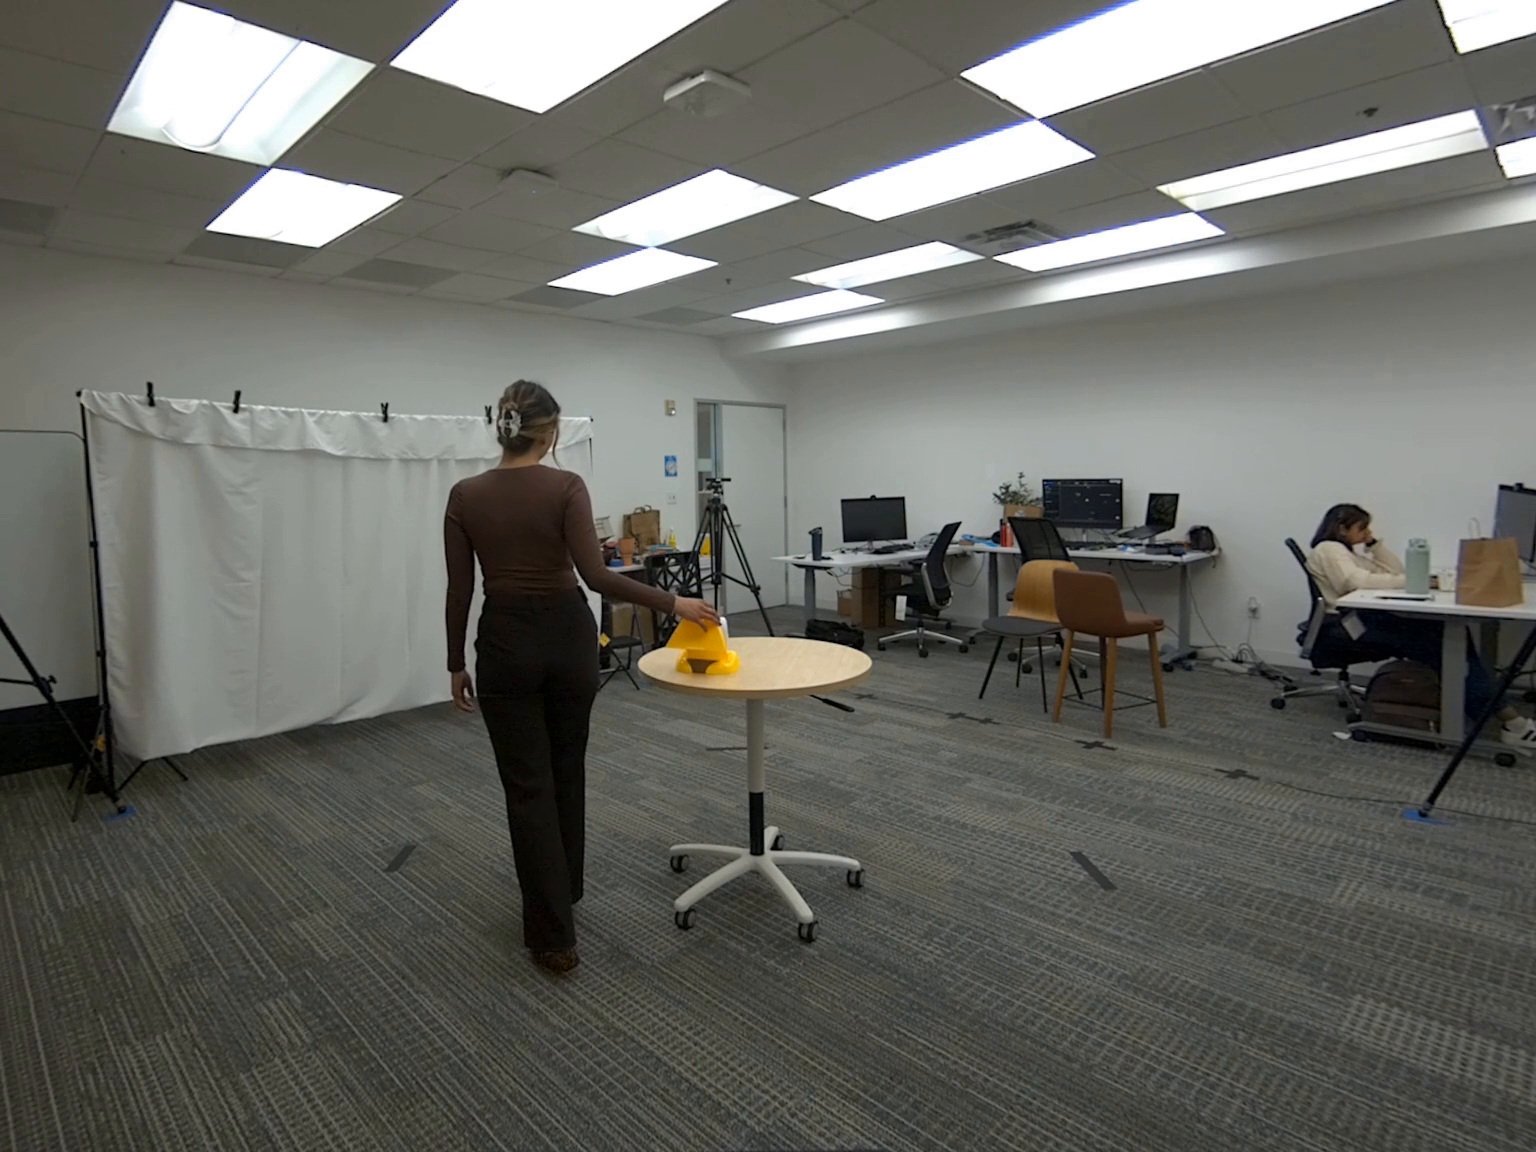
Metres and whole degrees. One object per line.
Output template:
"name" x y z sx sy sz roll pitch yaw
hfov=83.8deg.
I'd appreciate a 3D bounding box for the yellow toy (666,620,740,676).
"yellow toy" -0.187 0.179 2.702 0.208 0.230 0.190 1 5 19
